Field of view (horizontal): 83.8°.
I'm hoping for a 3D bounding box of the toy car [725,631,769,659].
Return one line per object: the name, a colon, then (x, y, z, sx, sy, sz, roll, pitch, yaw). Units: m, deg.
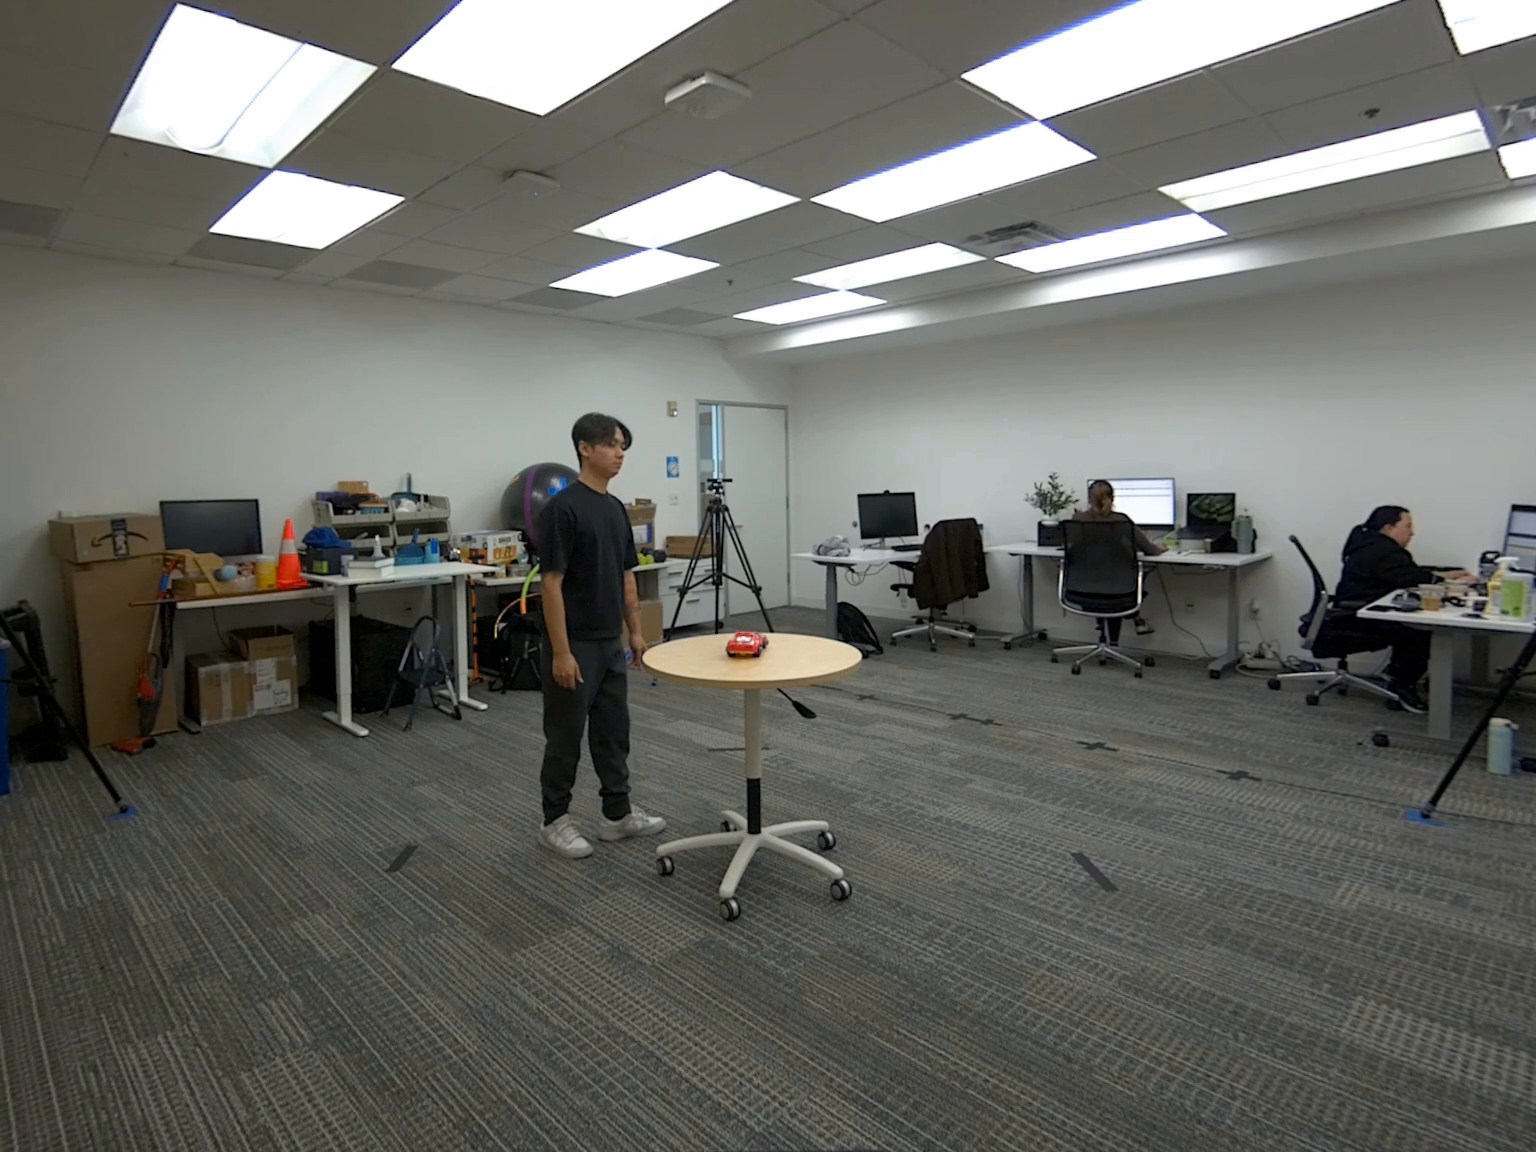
toy car: (-0.077, 0.239, 3.010, 0.131, 0.083, 0.251, 1, -4, 8)
